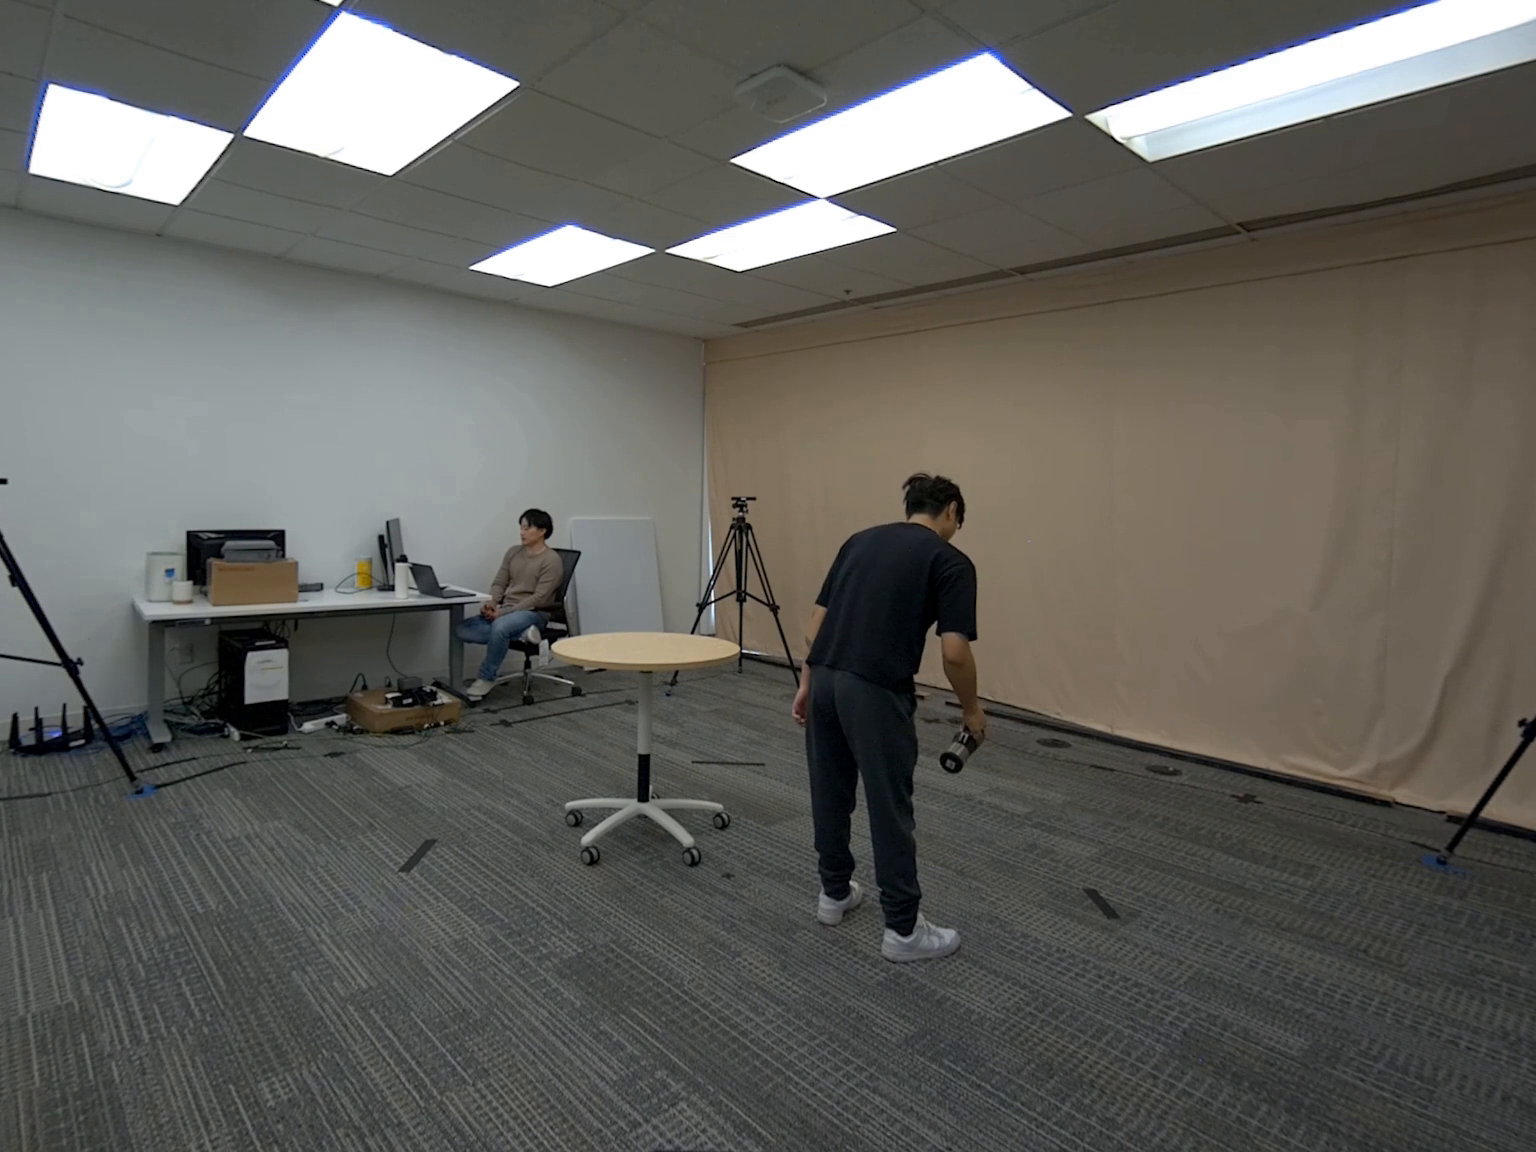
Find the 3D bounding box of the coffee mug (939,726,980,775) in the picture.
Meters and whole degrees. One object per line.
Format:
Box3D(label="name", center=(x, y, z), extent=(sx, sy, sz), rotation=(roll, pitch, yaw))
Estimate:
Box3D(label="coffee mug", center=(0.593, 0.535, 2.673), extent=(0.124, 0.087, 0.201), rotation=(44, 44, 15))
